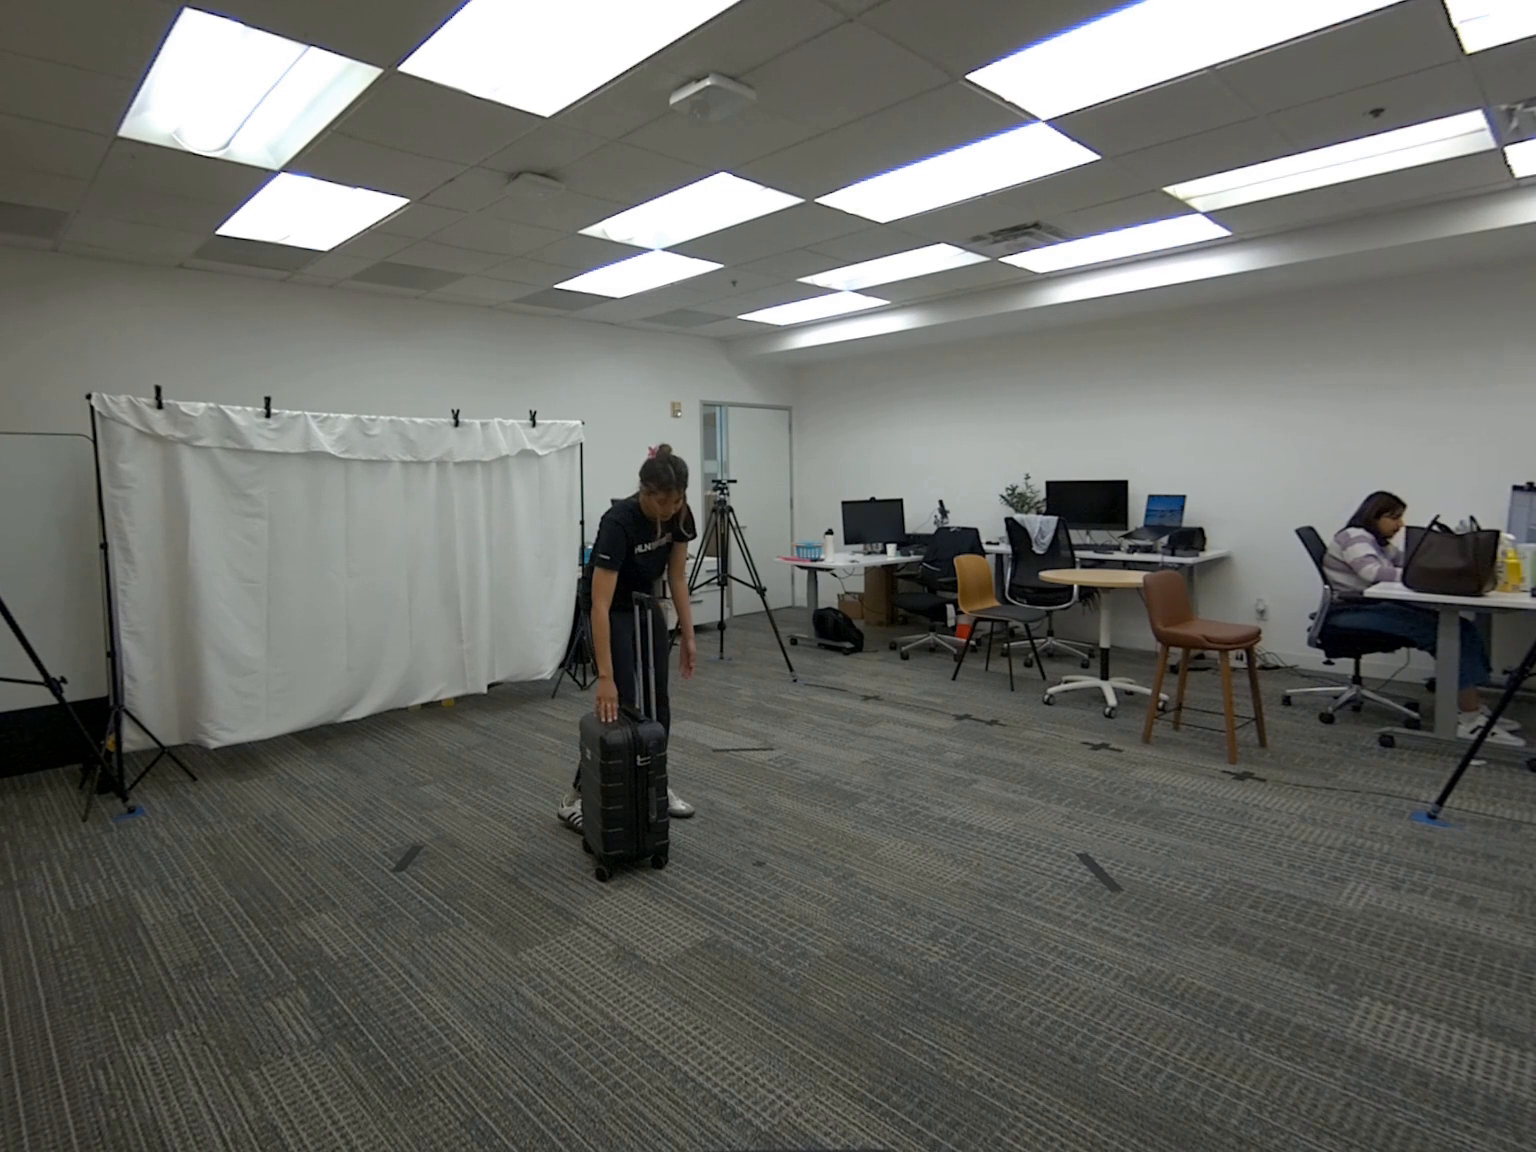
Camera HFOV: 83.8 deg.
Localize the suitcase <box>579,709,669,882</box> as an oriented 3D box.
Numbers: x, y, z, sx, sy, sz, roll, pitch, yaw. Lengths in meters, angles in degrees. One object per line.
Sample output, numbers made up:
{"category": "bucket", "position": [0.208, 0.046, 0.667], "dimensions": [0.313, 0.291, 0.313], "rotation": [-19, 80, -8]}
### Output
{"category": "suitcase", "position": [-0.543, 0.579, 3.139], "dimensions": [0.252, 0.975, 0.393], "rotation": [-3, 4, -23]}
